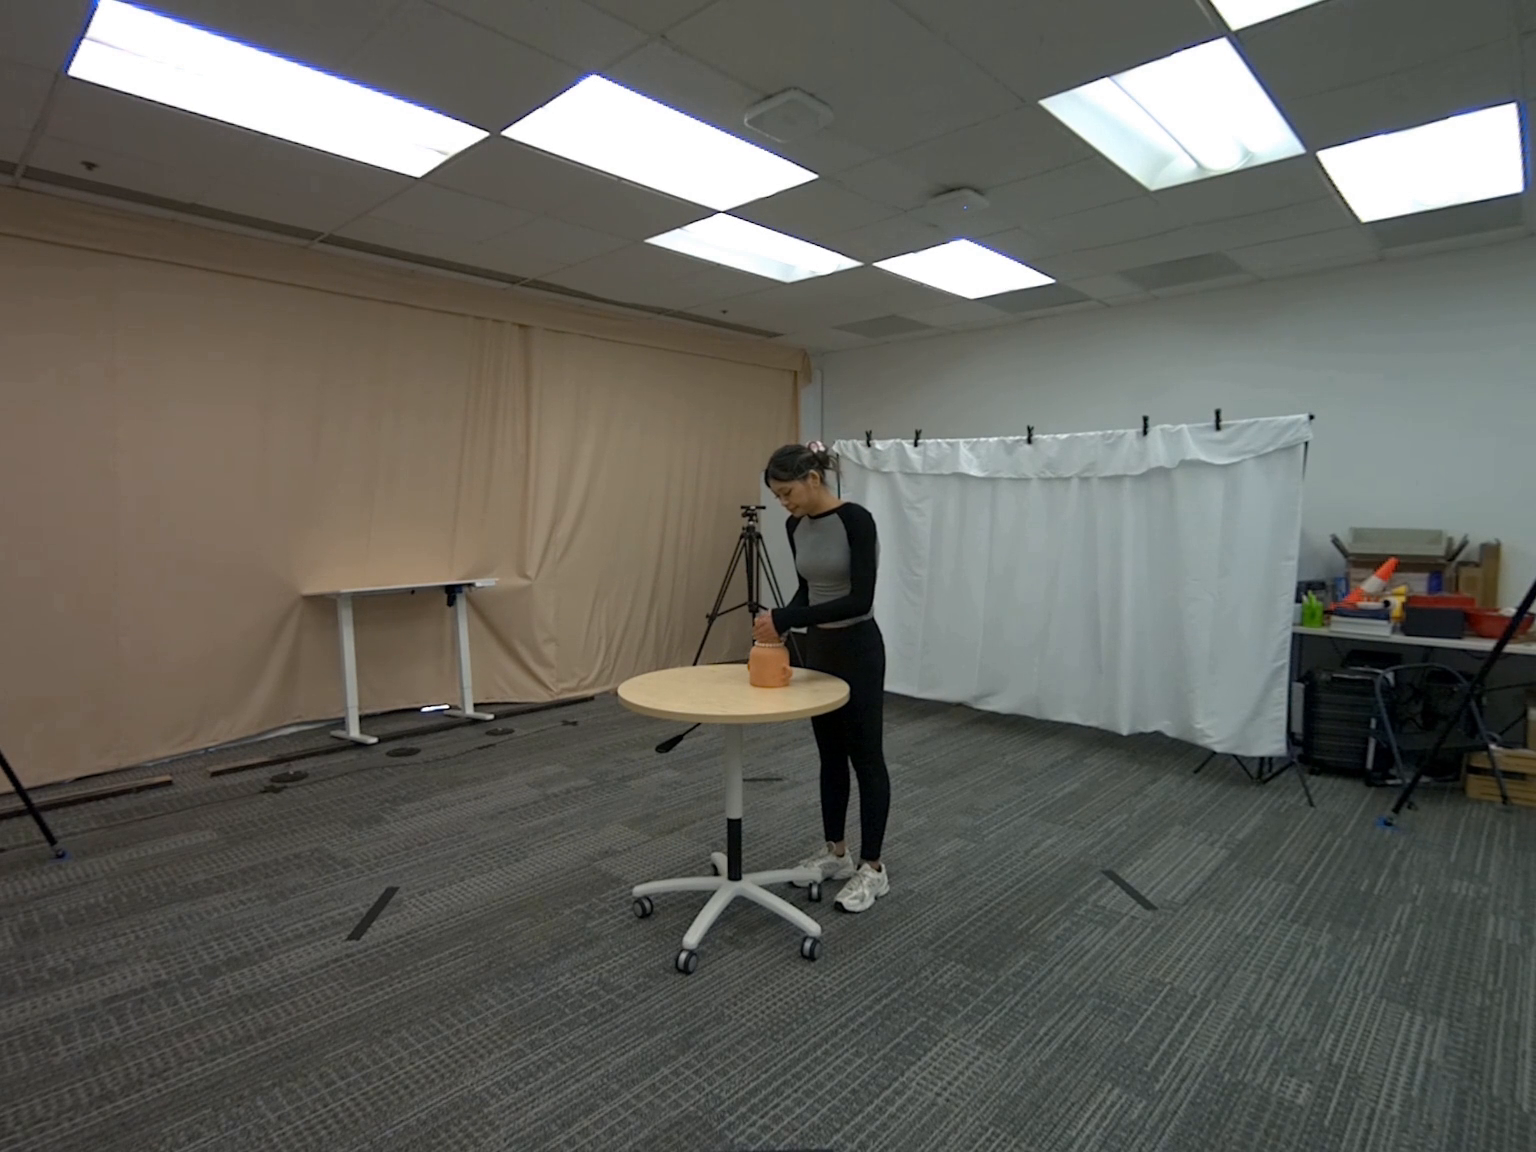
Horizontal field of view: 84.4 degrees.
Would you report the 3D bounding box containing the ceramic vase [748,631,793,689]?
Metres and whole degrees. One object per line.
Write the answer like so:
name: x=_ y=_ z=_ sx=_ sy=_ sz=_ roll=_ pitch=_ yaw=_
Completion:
ceramic vase: x=0.013 y=0.252 z=2.824 sx=0.159 sy=0.219 sz=0.134 roll=0 pitch=4 yaw=3
